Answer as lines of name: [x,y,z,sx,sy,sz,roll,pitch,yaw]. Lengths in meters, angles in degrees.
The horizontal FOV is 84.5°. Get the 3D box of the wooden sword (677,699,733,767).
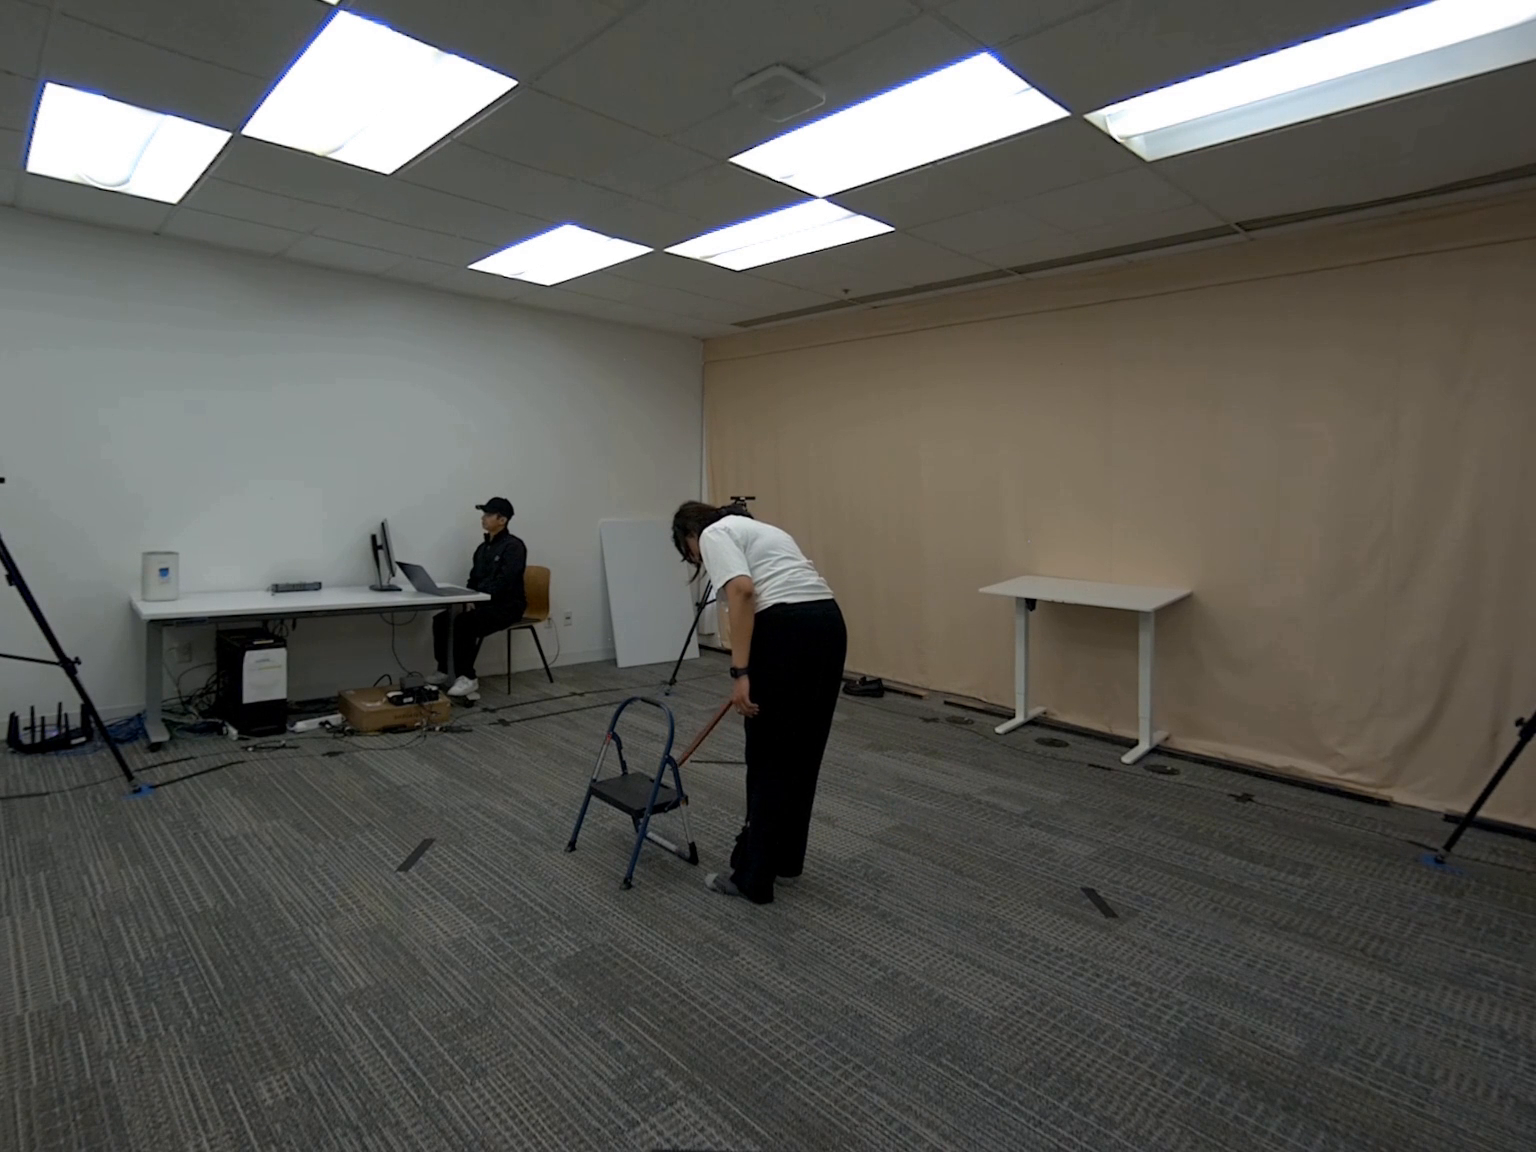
wooden sword: [-0.082,0.417,3.493,0.050,1.026,0.024,47,-20,-27]
